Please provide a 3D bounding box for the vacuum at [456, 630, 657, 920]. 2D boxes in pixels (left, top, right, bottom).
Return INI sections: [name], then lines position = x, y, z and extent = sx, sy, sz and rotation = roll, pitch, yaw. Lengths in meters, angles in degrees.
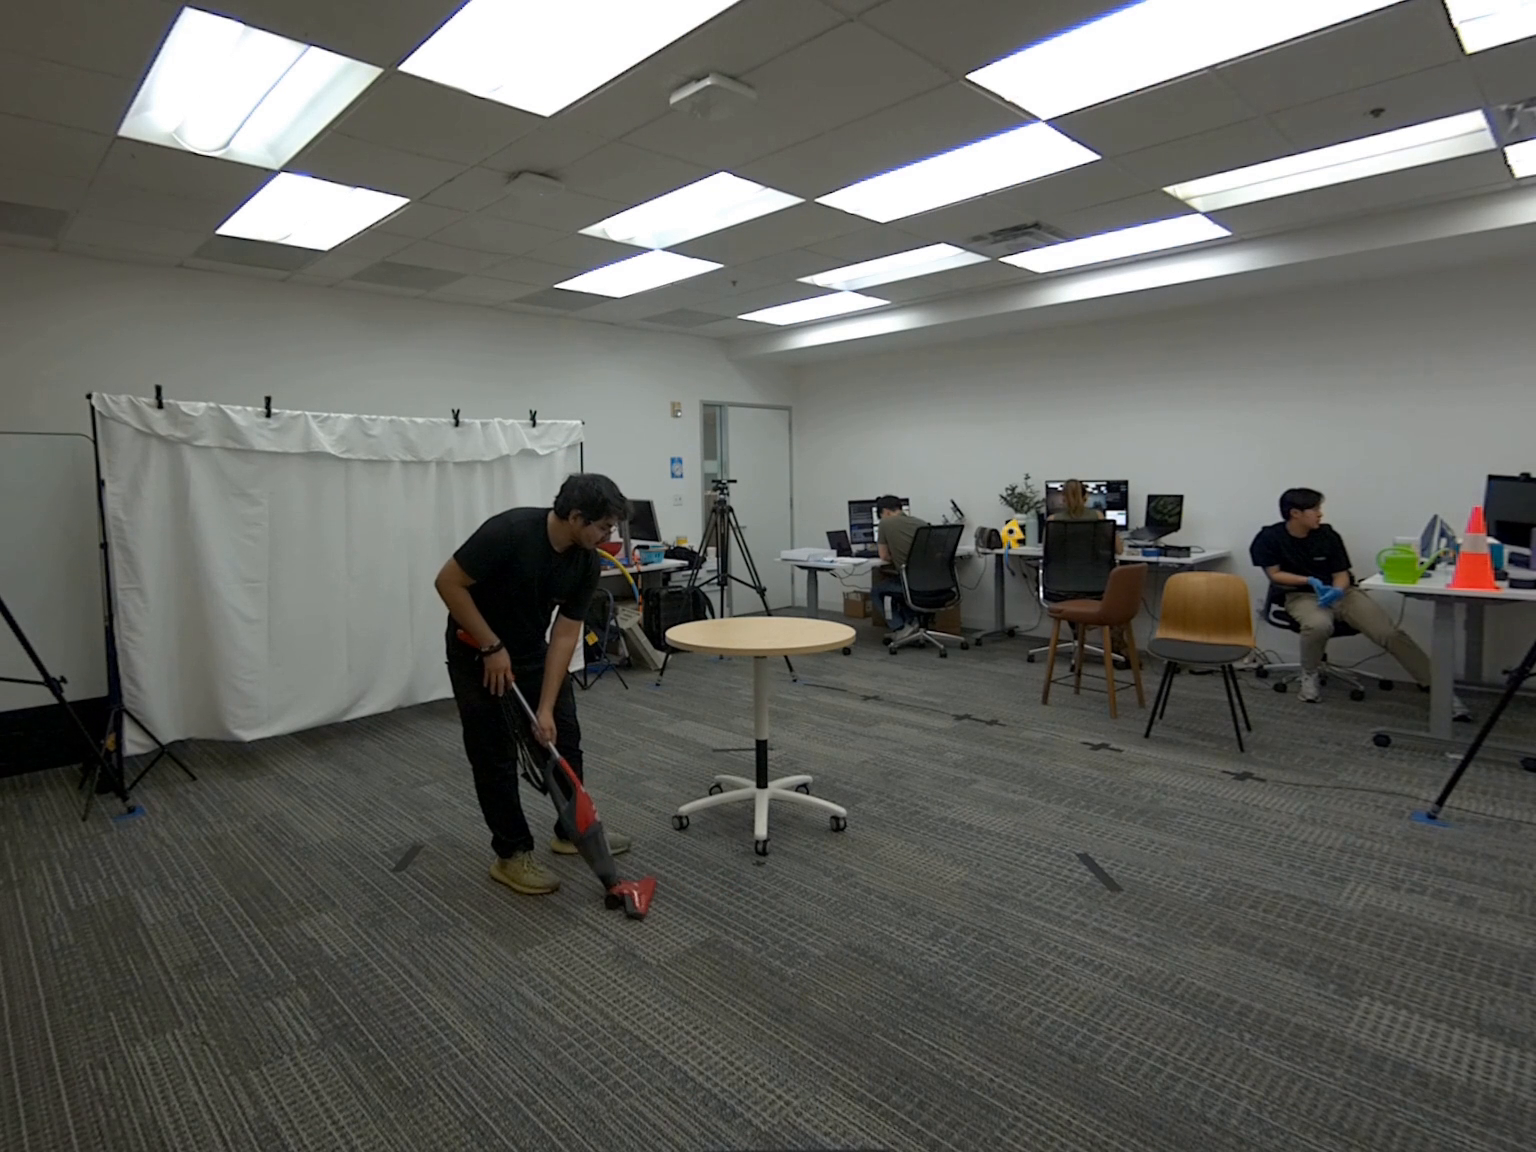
[vacuum]
position = -0.714, 0.627, 2.863
extent = 0.144, 1.052, 0.251
rotation = -29, -2, 5
